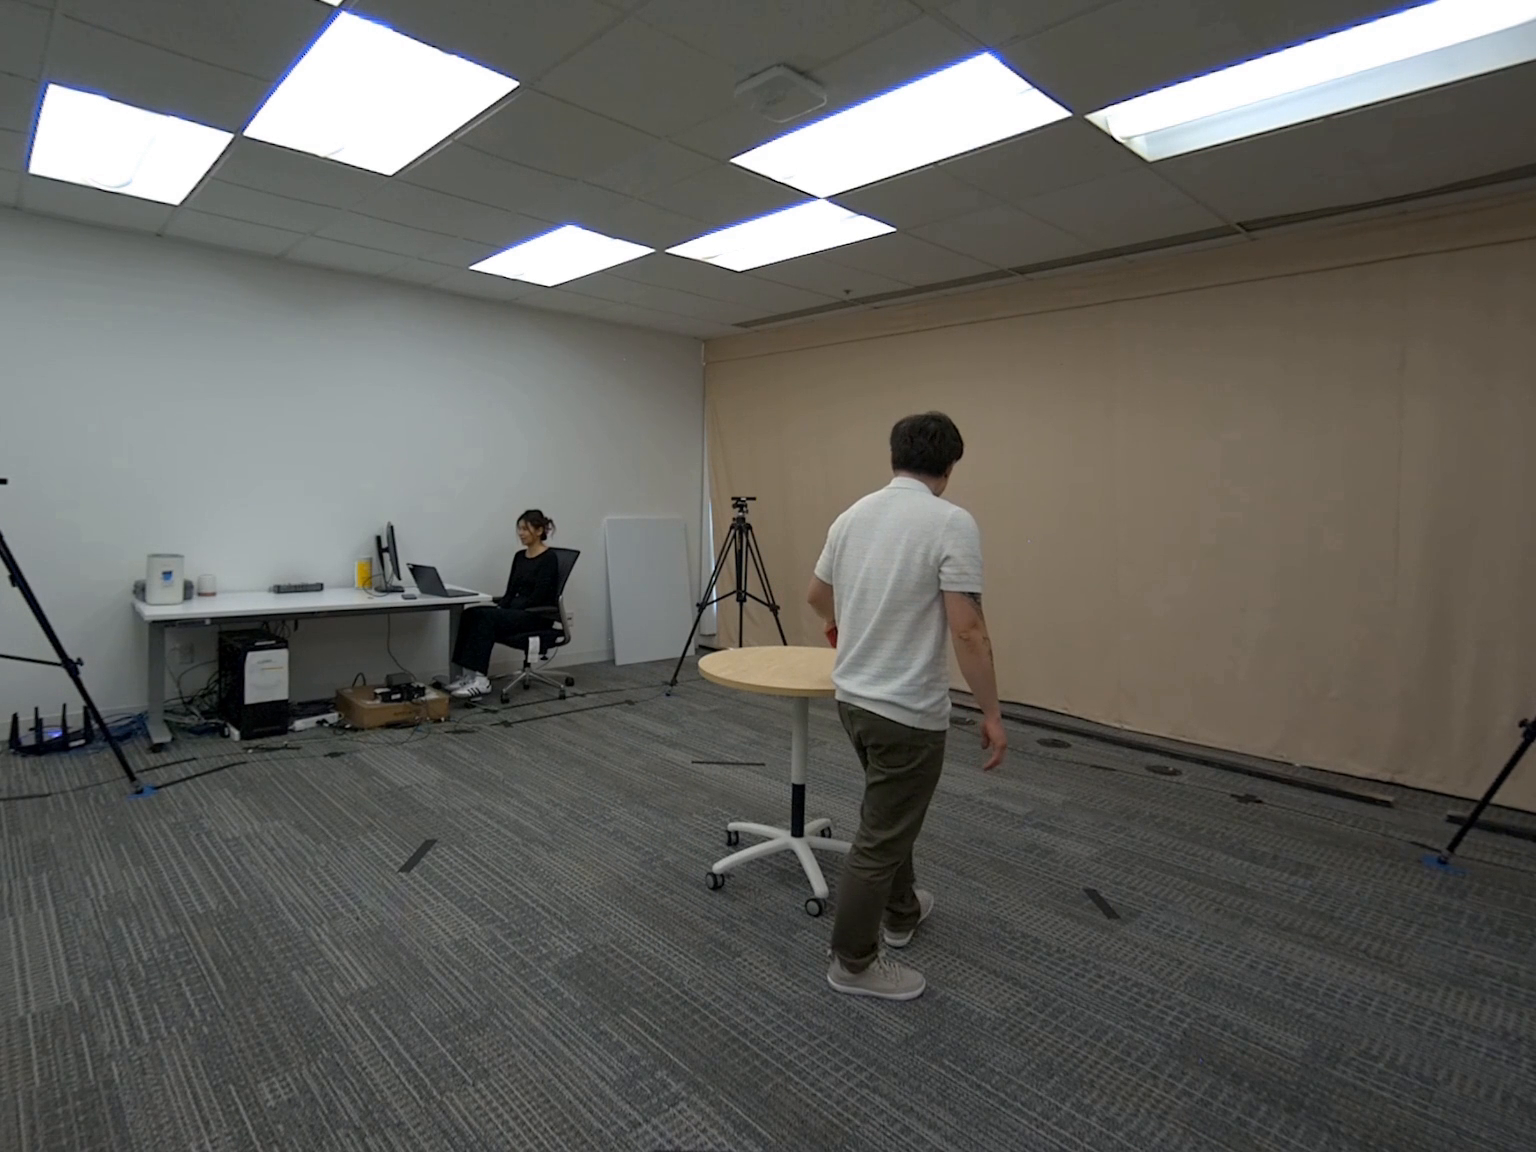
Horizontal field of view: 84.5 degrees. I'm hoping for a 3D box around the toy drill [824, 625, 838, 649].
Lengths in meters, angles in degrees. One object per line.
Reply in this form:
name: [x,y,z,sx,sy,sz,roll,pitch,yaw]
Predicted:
toy drill: [0.277,0.241,2.902,0.062,0.168,0.144,2,13,32]
